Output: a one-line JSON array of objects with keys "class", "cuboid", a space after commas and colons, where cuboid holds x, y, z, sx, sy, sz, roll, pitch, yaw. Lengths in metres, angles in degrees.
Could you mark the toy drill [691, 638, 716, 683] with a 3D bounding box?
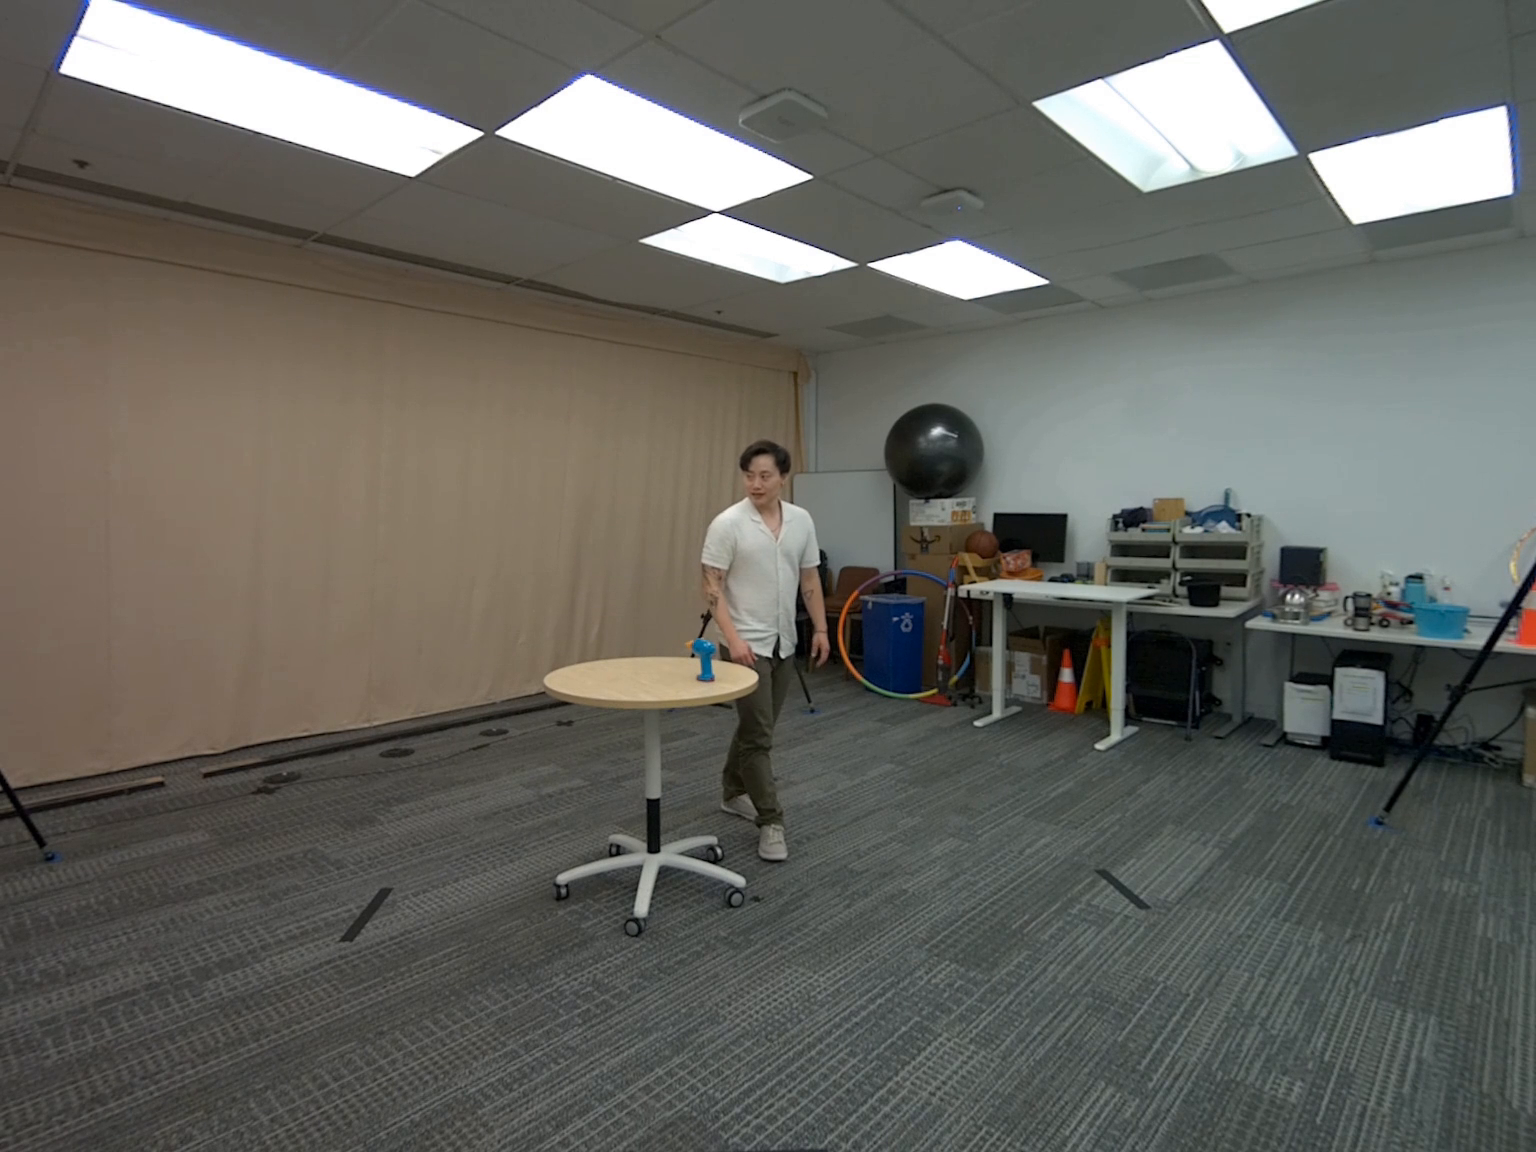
[{"class": "toy drill", "cuboid": [-0.237, 0.289, 2.982, 0.059, 0.145, 0.175, -2, 6, -35]}]
